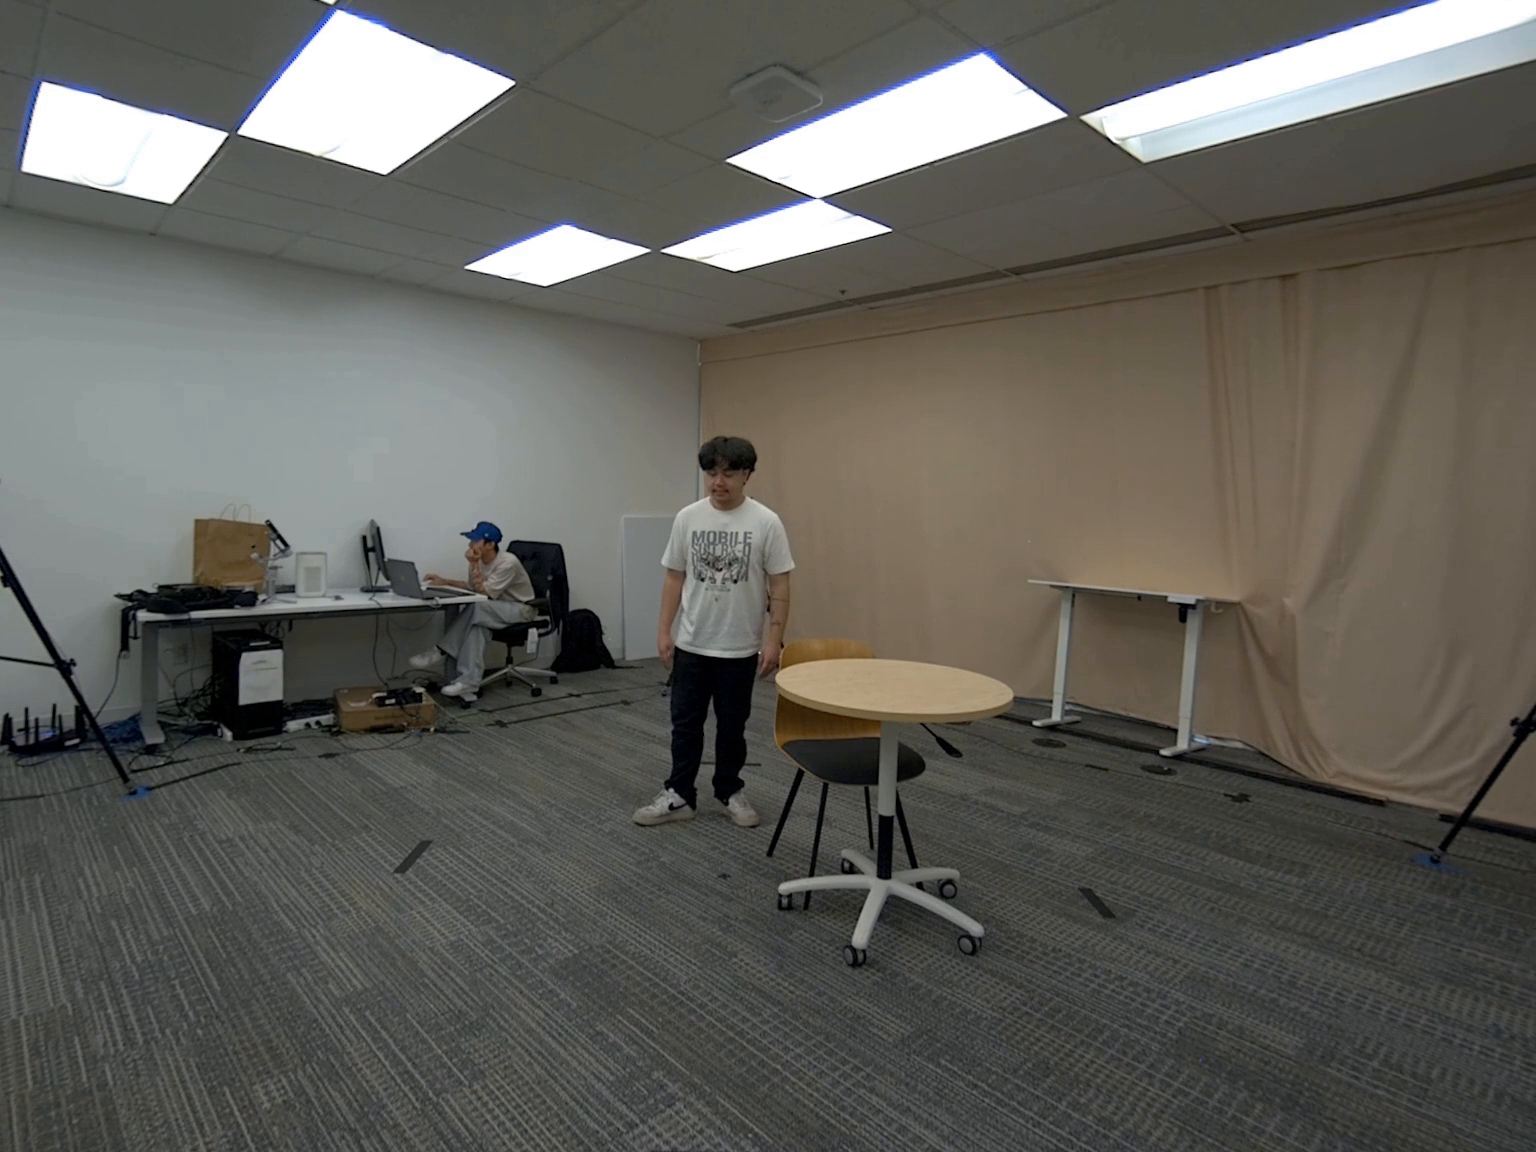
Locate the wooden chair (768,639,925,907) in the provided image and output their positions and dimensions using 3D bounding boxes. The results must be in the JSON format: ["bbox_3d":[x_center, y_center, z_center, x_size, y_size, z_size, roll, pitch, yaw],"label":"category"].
[{"bbox_3d":[0.277,0.691,3.090,0.472,0.878,0.529,1,-1,-16],"label":"wooden chair"}]
